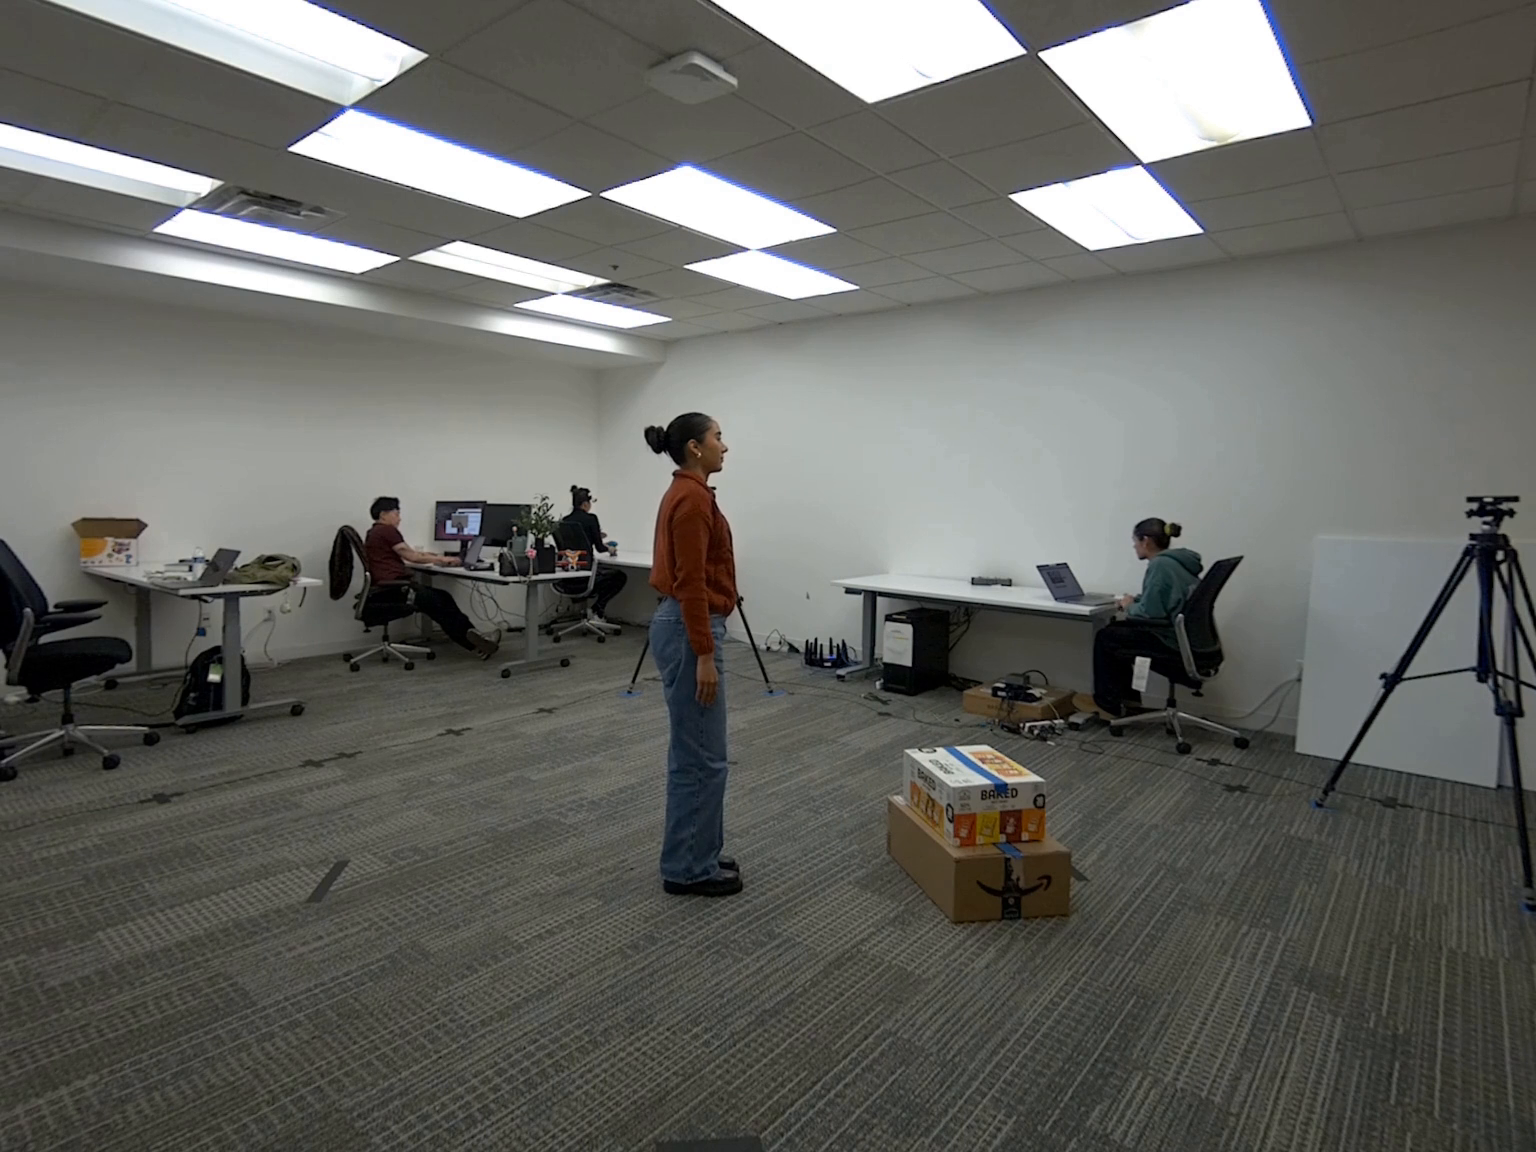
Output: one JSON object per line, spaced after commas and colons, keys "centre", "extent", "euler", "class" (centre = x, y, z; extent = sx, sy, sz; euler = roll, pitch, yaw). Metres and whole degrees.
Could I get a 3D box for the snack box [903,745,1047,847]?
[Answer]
{"centre": [0.721, 0.775, 3.043], "extent": [0.336, 0.205, 0.412], "euler": [-1, 6, -13], "class": "snack box"}
